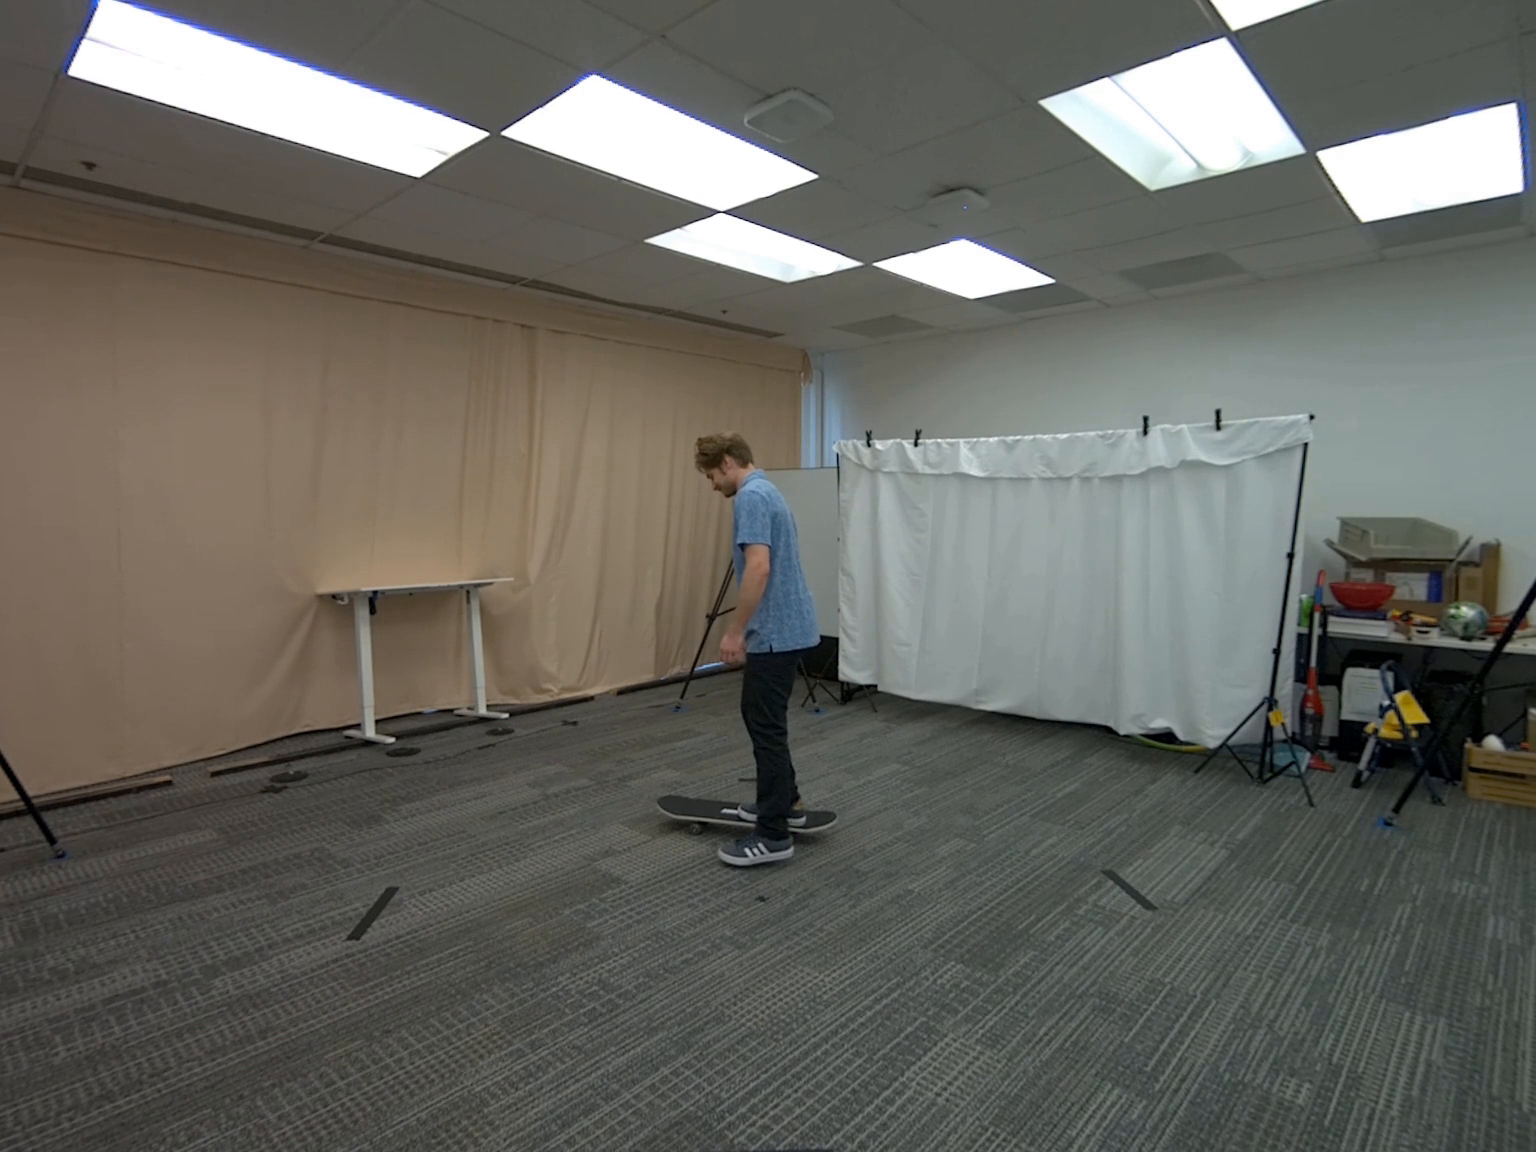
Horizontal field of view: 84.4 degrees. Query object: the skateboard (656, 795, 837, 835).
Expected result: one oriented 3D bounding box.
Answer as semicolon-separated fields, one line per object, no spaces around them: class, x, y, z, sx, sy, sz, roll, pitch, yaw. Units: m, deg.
skateboard;-0.099;1.035;3.581;0.799;0.110;0.191;1;8;15
